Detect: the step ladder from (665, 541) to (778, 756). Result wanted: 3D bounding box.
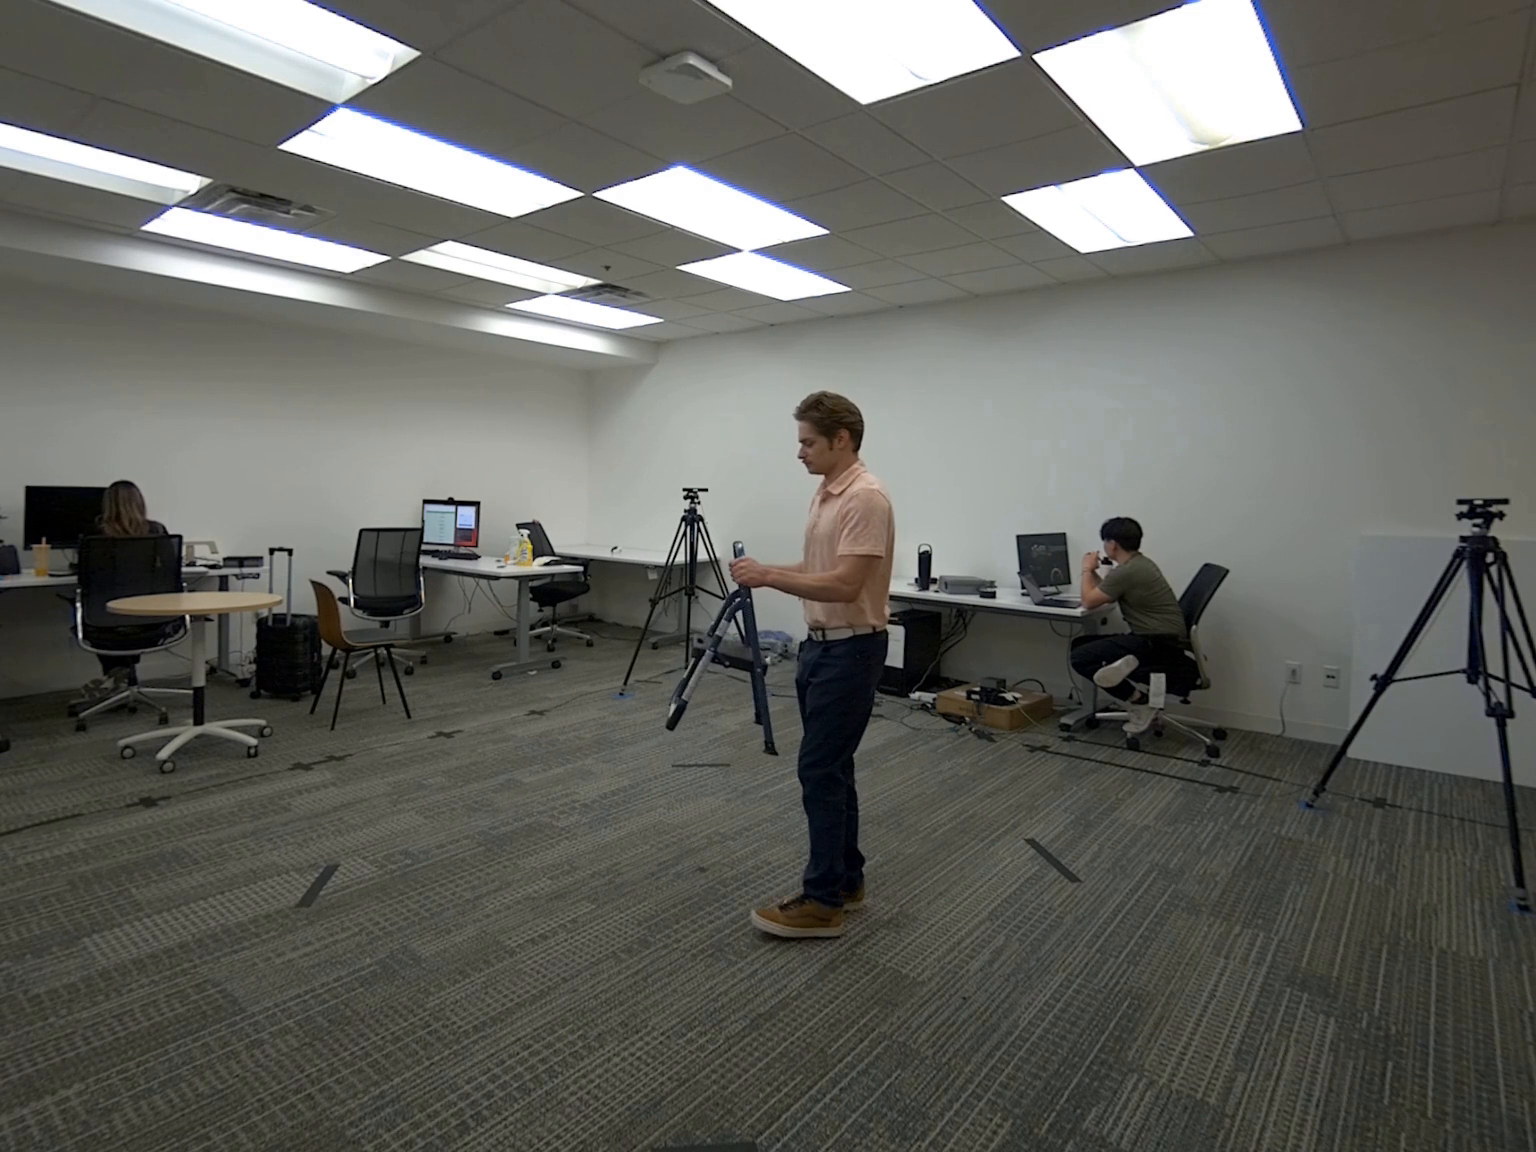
[{"bbox_3d":[-0.095,0.209,2.780,0.347,0.605,0.434,12,3,-7],"label":"step ladder"}]
